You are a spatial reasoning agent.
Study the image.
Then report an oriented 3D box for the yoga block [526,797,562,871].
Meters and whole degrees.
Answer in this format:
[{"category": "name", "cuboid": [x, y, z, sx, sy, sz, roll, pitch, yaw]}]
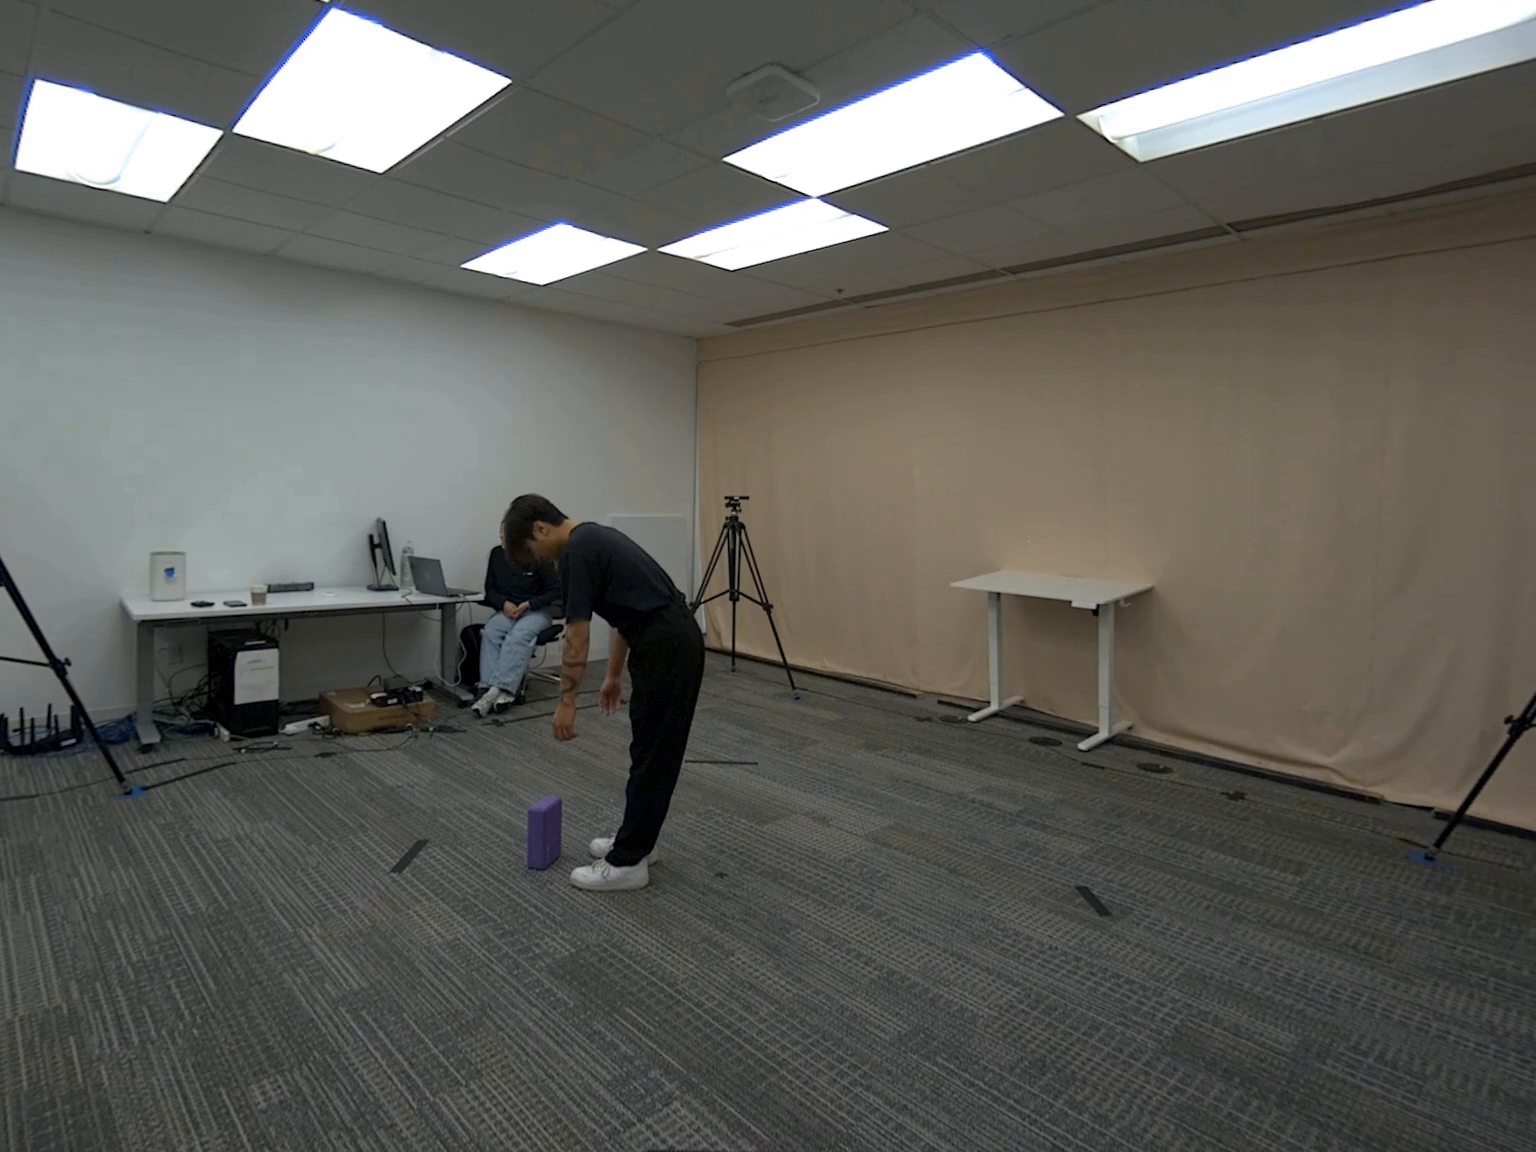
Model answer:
[{"category": "yoga block", "cuboid": [-0.843, 0.966, 3.169, 0.077, 0.229, 0.148, 0, 4, 11]}]
